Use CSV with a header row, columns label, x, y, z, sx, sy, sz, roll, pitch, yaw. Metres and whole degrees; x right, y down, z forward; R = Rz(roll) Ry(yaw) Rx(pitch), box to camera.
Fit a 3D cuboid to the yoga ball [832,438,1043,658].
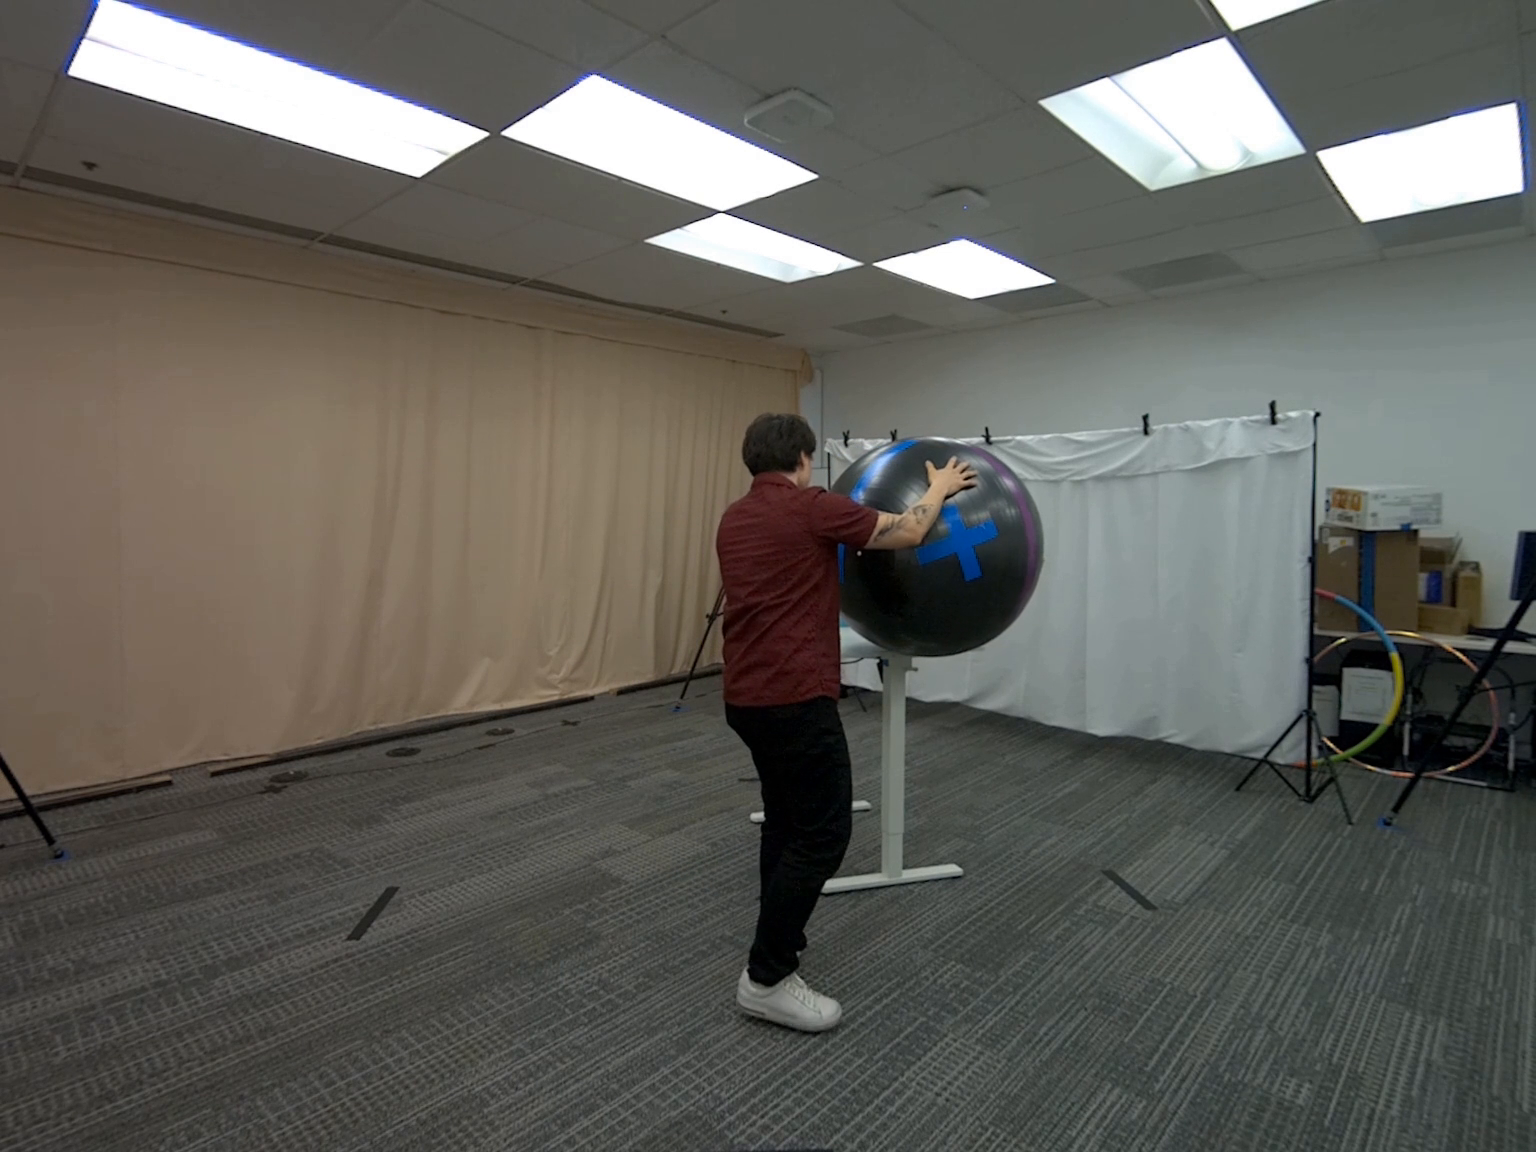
label,x,y,z,sx,sy,sz,roll,pitch,yaw
yoga ball,0.545,-0.092,2.895,0.757,0.756,0.760,0,4,-2
